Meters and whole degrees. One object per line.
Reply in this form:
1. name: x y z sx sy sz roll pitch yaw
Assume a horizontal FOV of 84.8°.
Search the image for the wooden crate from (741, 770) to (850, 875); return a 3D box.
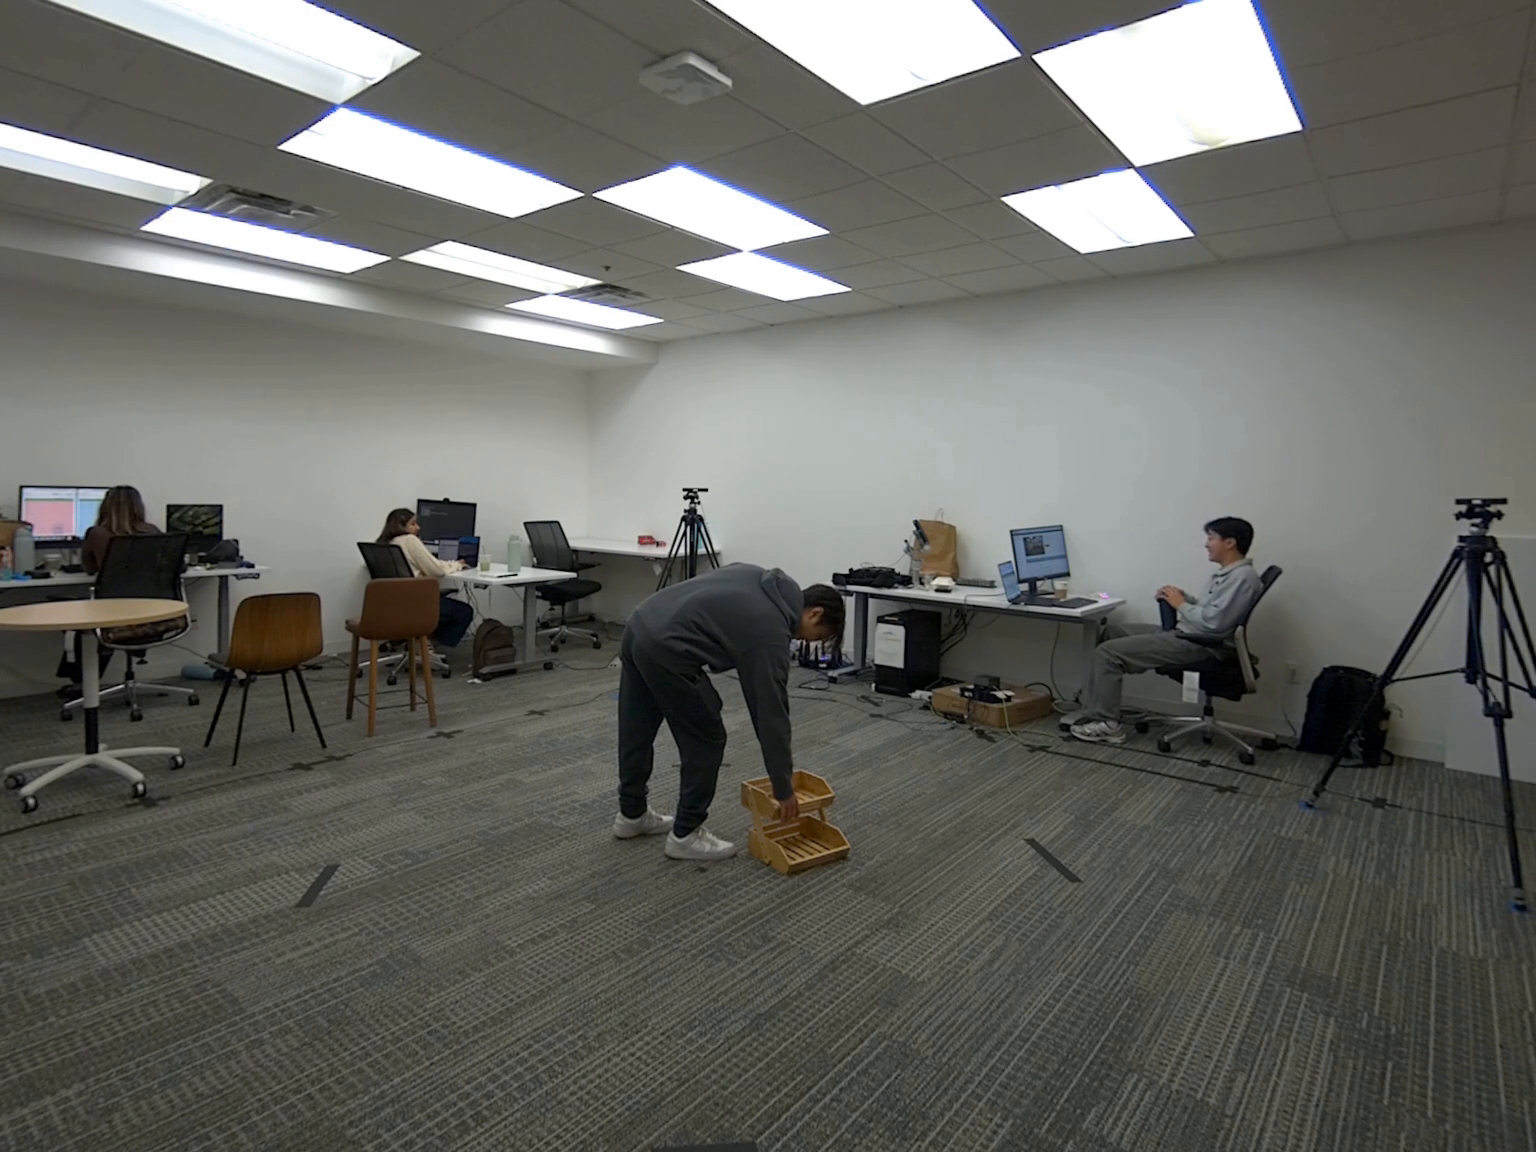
1. wooden crate: 0.097 0.928 3.257 0.315 0.272 0.312 -2 5 -37
